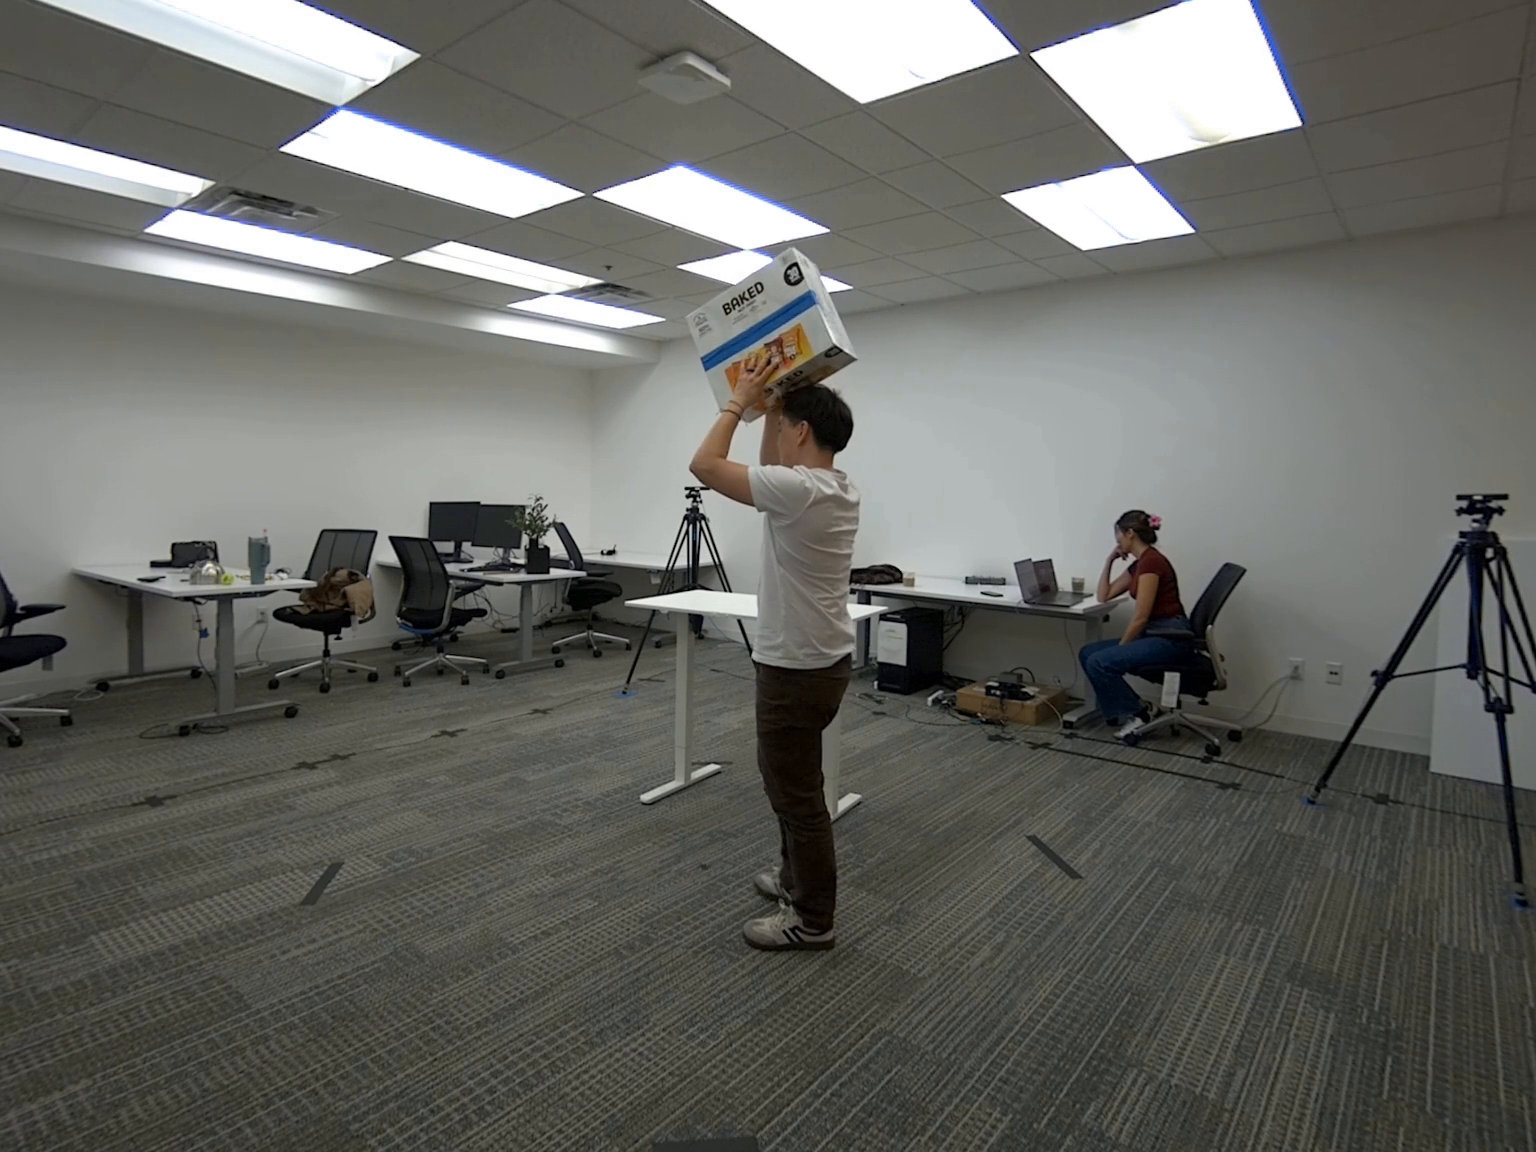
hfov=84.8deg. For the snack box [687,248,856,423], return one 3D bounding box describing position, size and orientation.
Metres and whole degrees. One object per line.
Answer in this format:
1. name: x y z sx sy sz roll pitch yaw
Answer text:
1. snack box: -0.001 -0.729 2.619 0.410 0.346 0.200 -26 -14 24
